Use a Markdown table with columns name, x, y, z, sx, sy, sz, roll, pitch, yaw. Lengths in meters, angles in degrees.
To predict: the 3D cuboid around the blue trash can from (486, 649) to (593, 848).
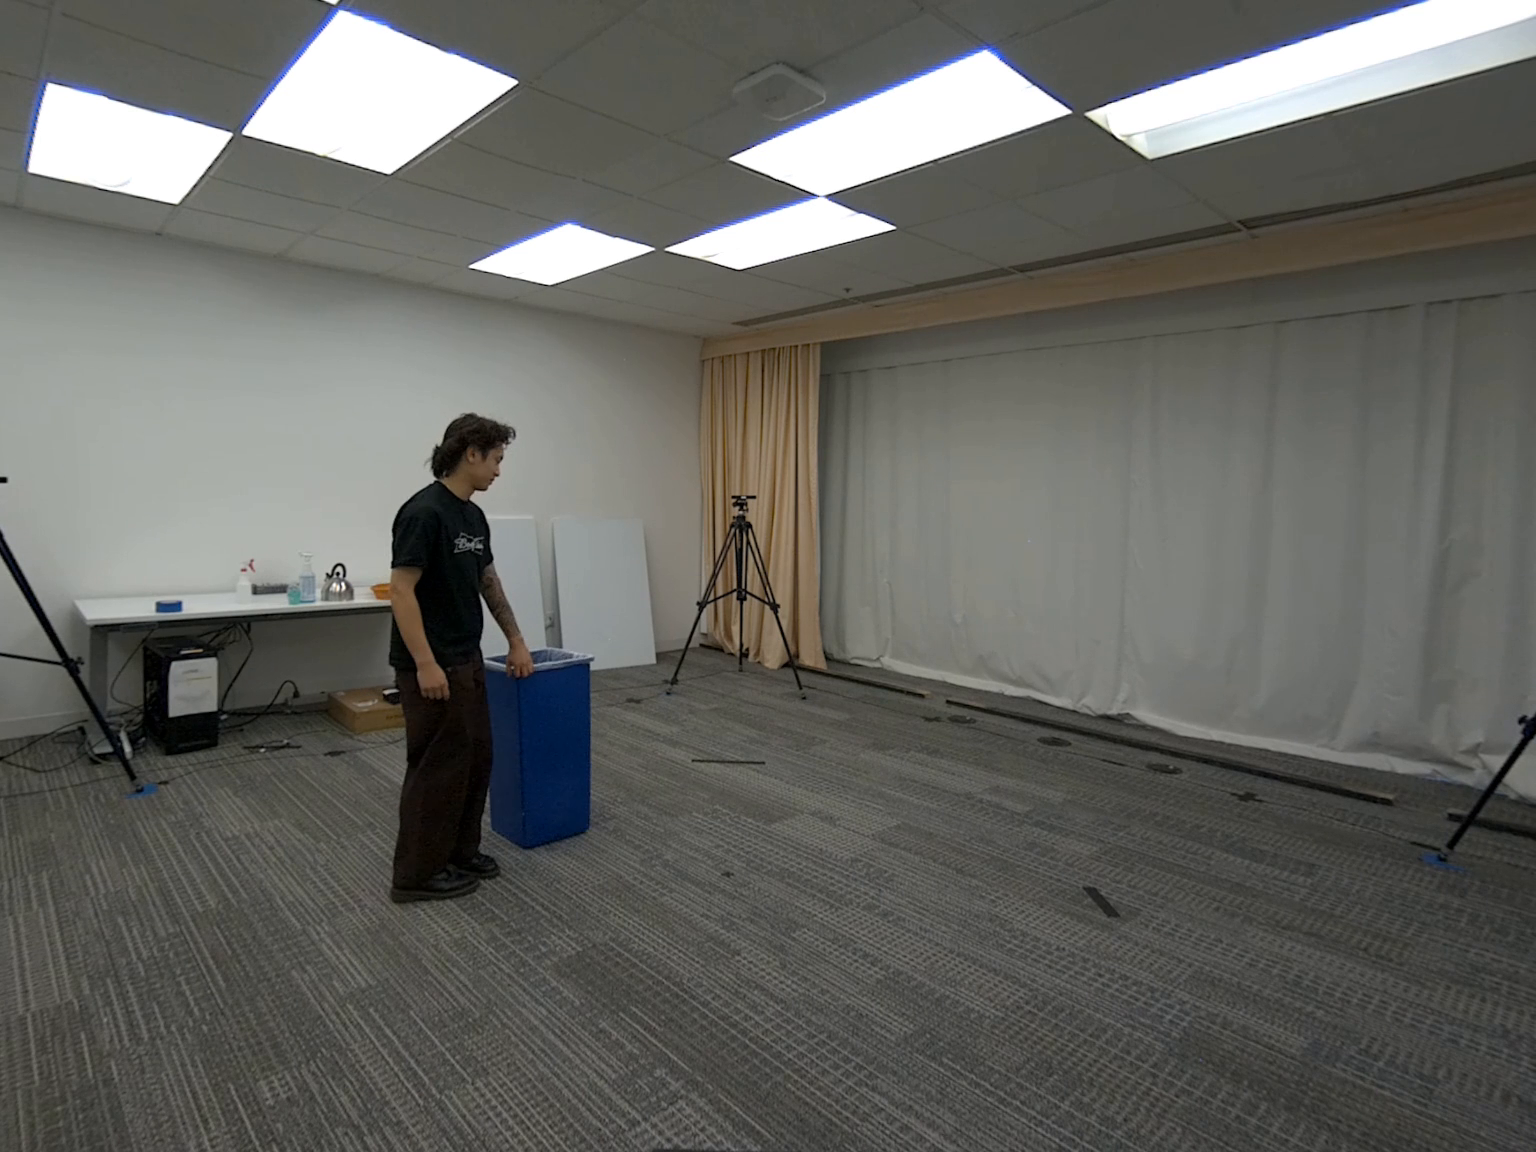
| name | x | y | z | sx | sy | sz | roll | pitch | yaw |
| --- | --- | --- | --- | --- | --- | --- | --- | --- | --- |
| blue trash can | -0.959 | 0.687 | 3.455 | 0.365 | 0.712 | 0.387 | -3 | 3 | -44 |
